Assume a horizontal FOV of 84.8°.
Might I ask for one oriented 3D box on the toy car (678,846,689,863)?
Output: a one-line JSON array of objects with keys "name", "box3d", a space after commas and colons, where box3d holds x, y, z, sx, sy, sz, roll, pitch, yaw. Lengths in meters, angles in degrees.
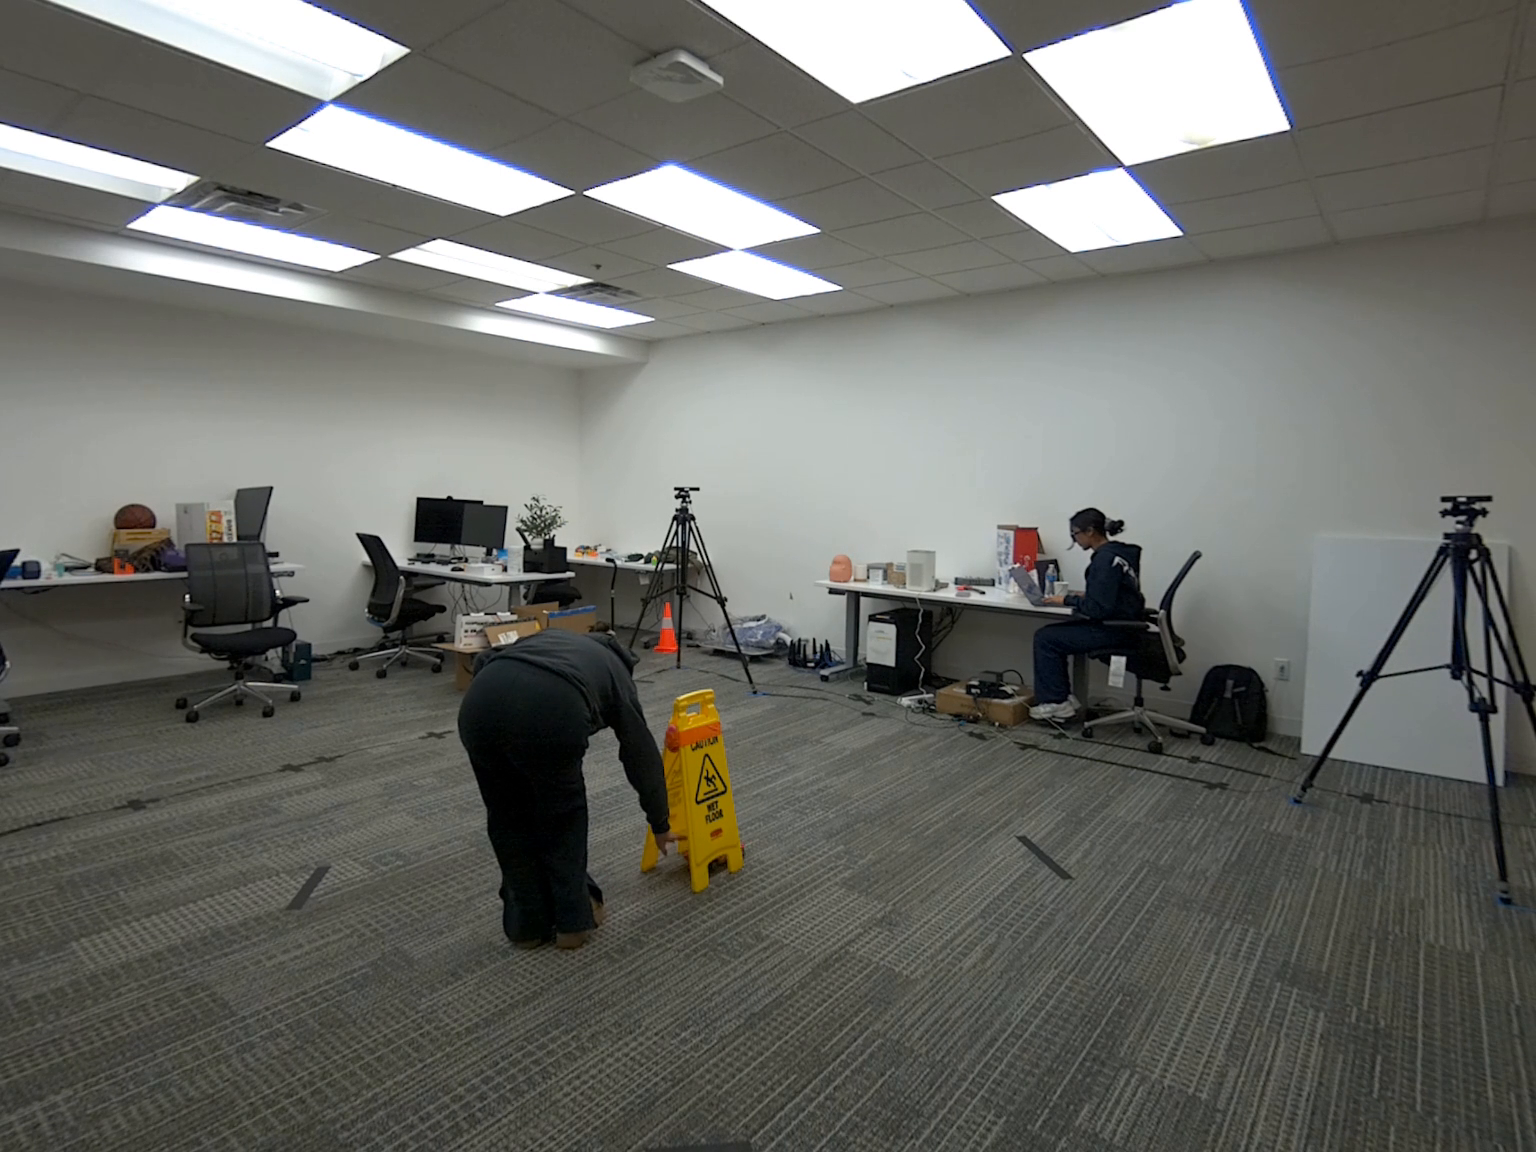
[{"name": "toy car", "box3d": [-0.202, 1.031, 3.148, 0.135, 0.083, 0.245, 5, -2, 44]}]
